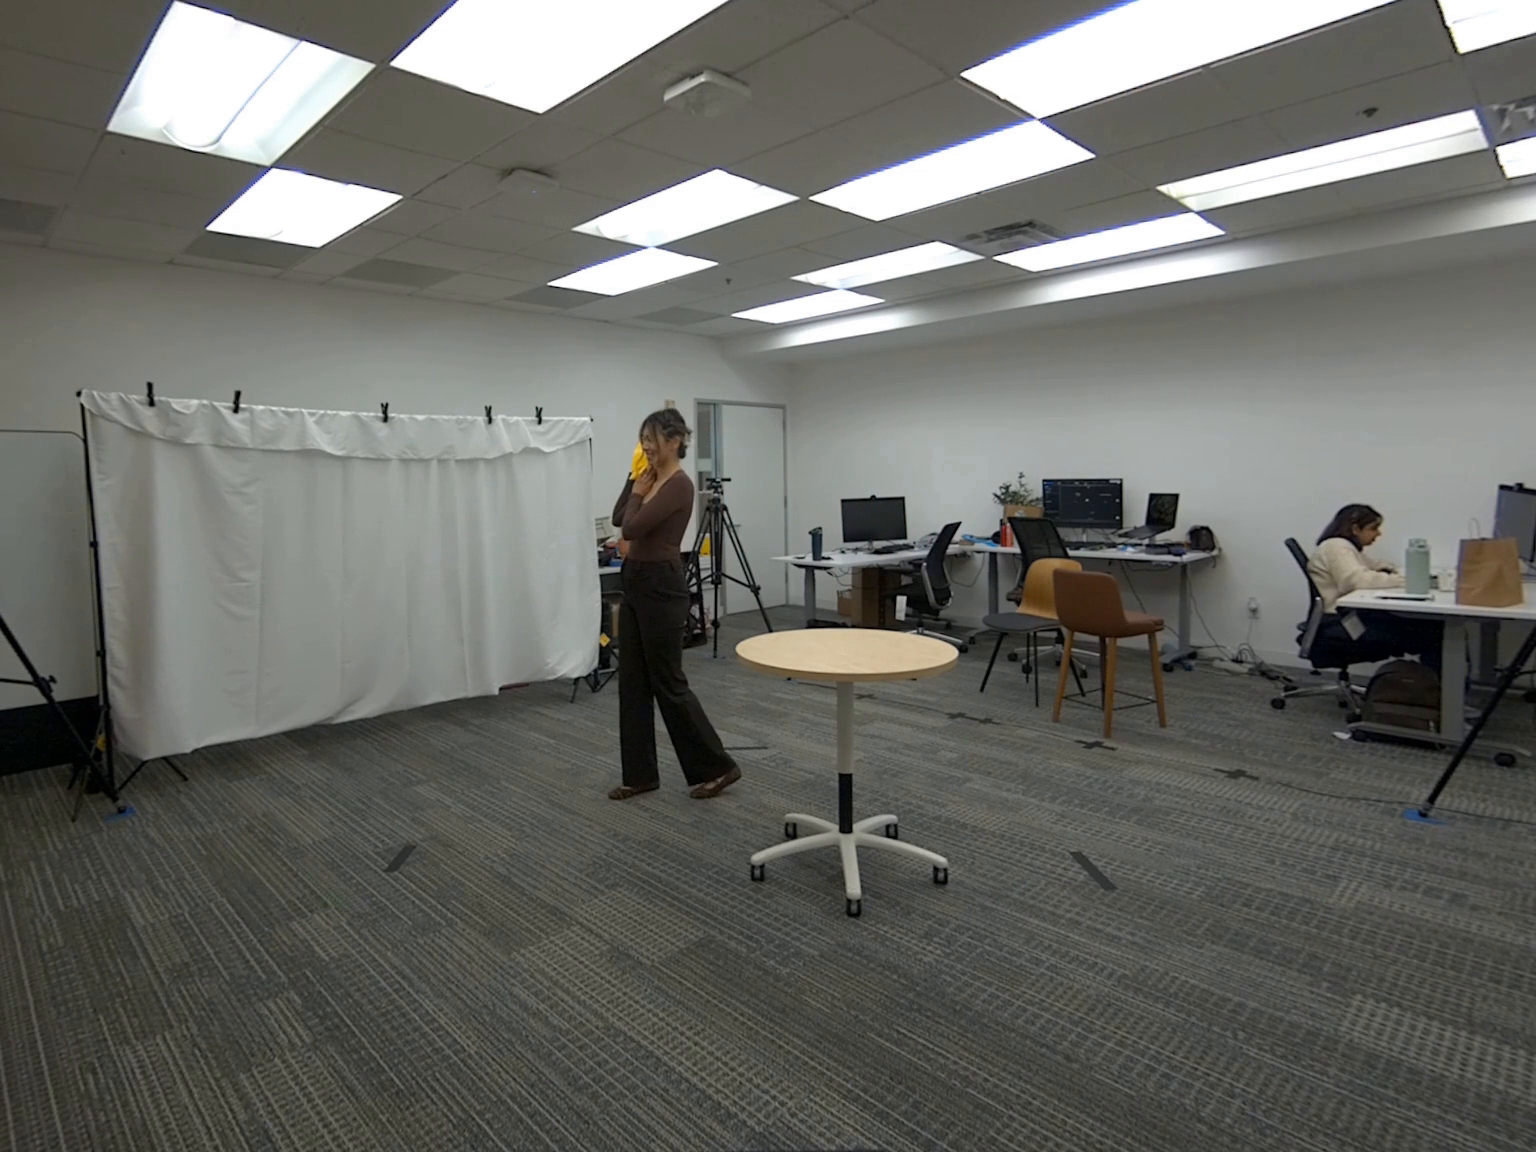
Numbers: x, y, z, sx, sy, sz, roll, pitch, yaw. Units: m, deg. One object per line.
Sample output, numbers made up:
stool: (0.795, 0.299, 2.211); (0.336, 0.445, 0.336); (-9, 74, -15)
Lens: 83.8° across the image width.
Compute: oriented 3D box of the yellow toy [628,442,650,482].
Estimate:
yellow toy: (-0.540, -0.573, 3.909); (0.189, 0.231, 0.209); (-10, 0, -29)
